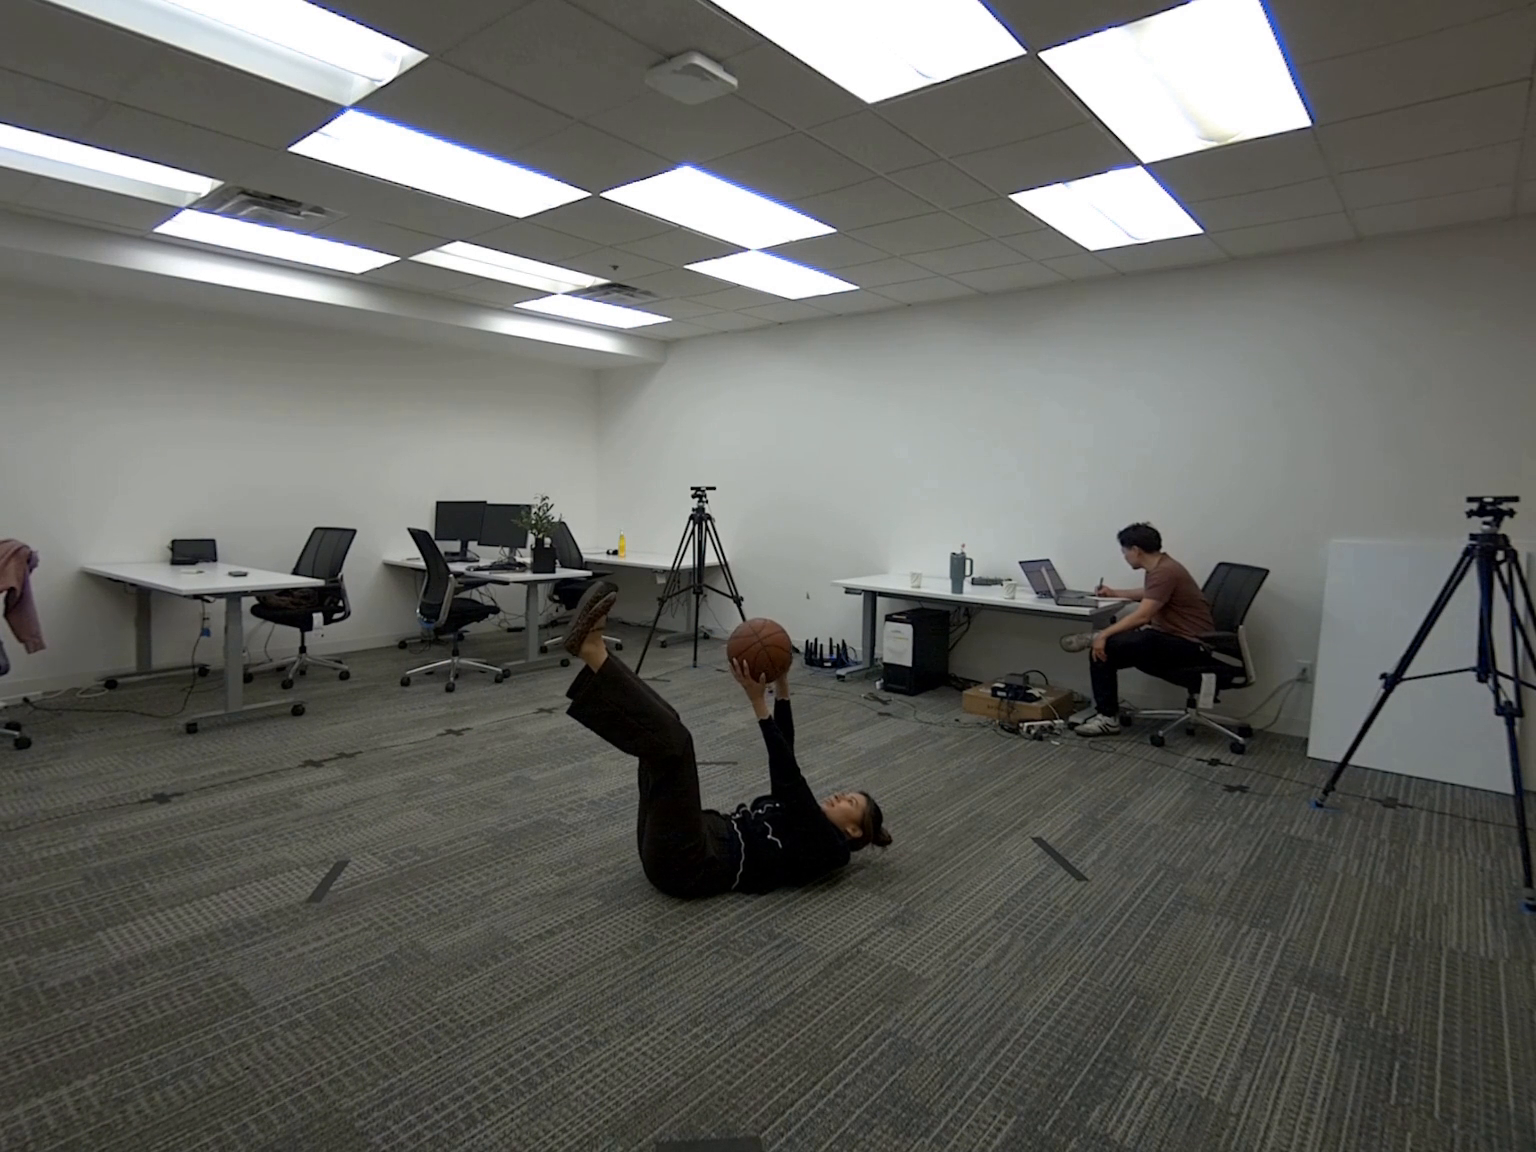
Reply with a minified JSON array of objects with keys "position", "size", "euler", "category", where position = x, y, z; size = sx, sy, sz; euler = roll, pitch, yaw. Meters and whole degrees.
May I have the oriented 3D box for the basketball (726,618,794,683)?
[{"position":[-0.039,0.267,3.046],"size":[0.236,0.235,0.237],"euler":[1,4,-2],"category":"basketball"}]
